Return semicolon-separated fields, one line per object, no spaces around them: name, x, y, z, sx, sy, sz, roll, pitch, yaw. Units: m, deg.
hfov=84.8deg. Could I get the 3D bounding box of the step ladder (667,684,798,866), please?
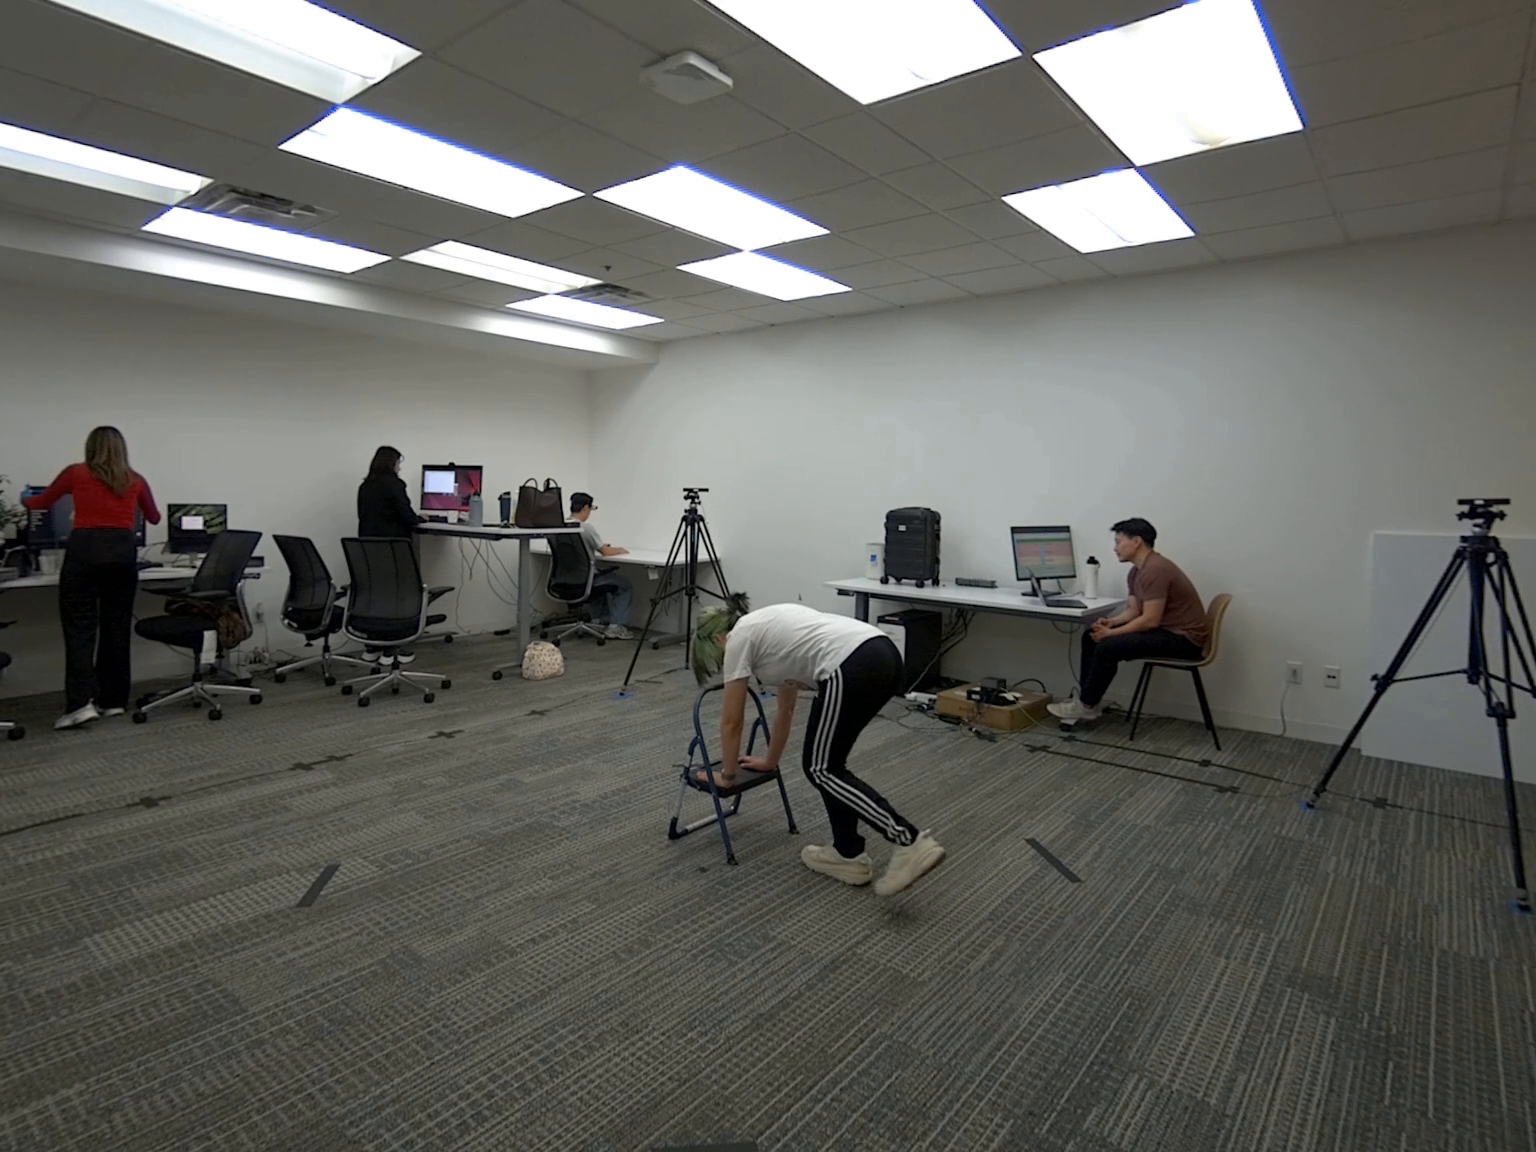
step ladder;-0.142;0.739;3.403;0.361;0.604;0.418;4;4;38
